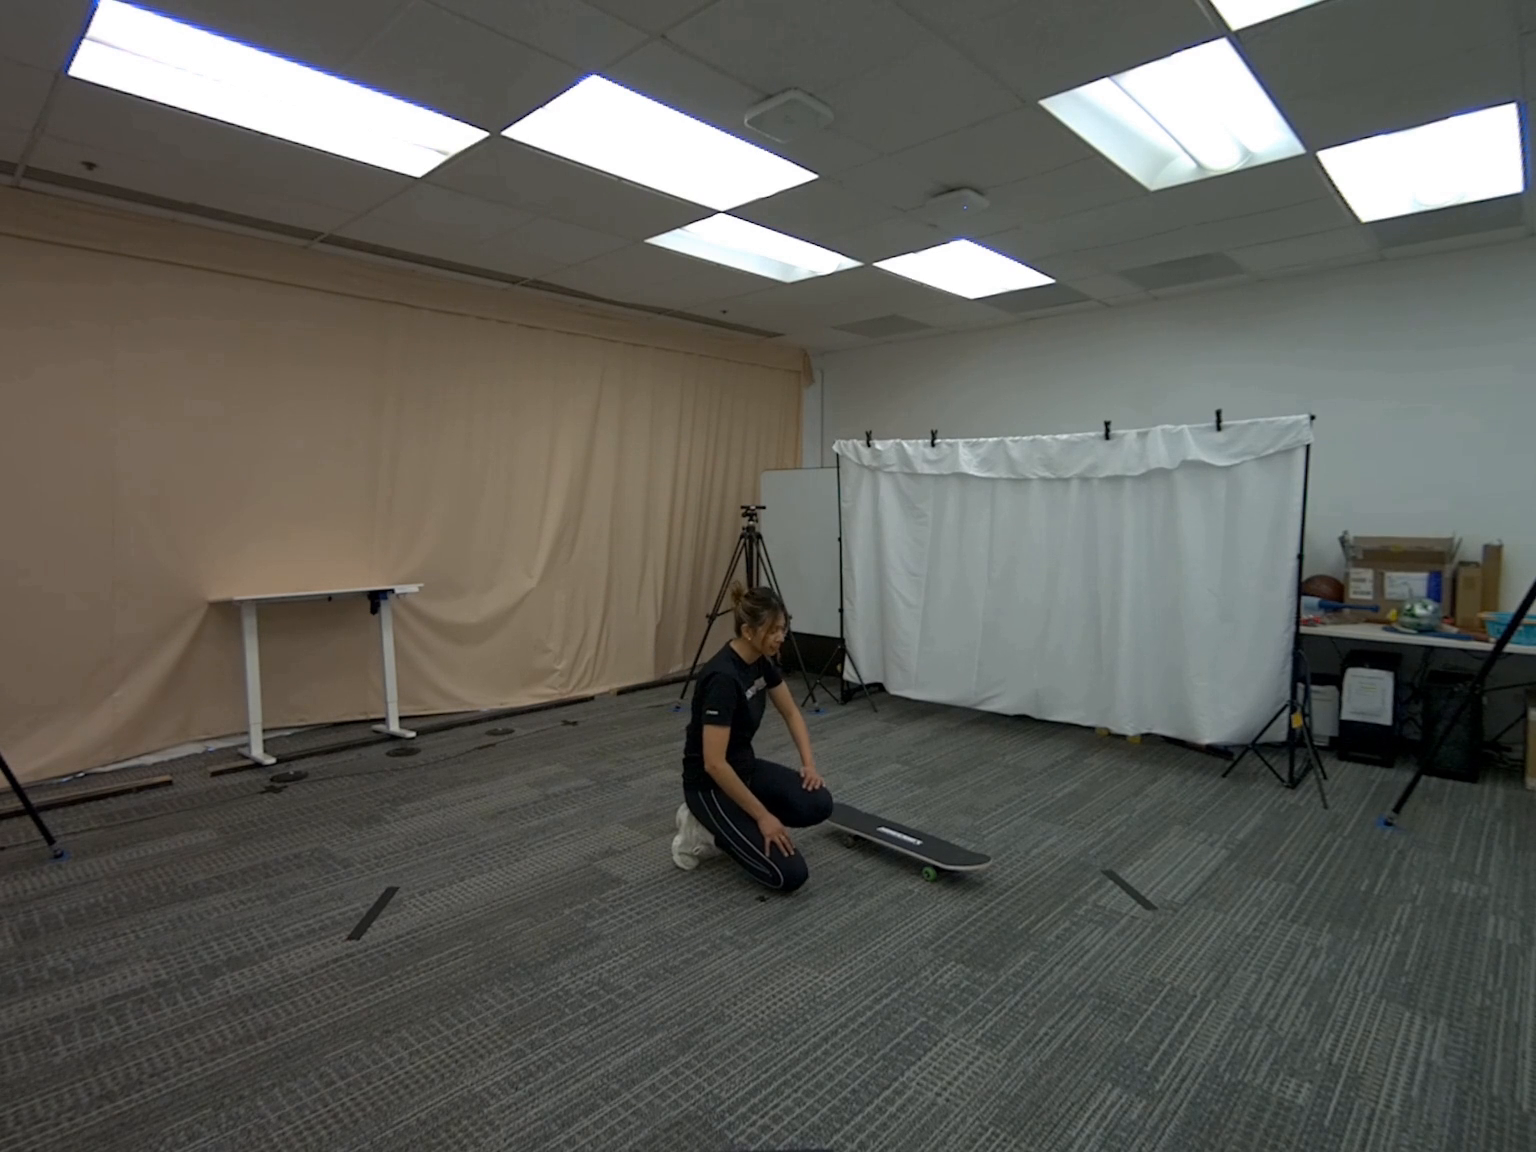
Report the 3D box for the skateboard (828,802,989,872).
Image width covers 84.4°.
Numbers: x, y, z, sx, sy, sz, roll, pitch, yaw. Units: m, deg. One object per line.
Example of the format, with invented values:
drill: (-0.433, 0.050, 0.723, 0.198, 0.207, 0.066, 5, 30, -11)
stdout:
skateboard: (0.524, 1.058, 3.324, 0.187, 0.110, 0.812, -4, 7, -42)
